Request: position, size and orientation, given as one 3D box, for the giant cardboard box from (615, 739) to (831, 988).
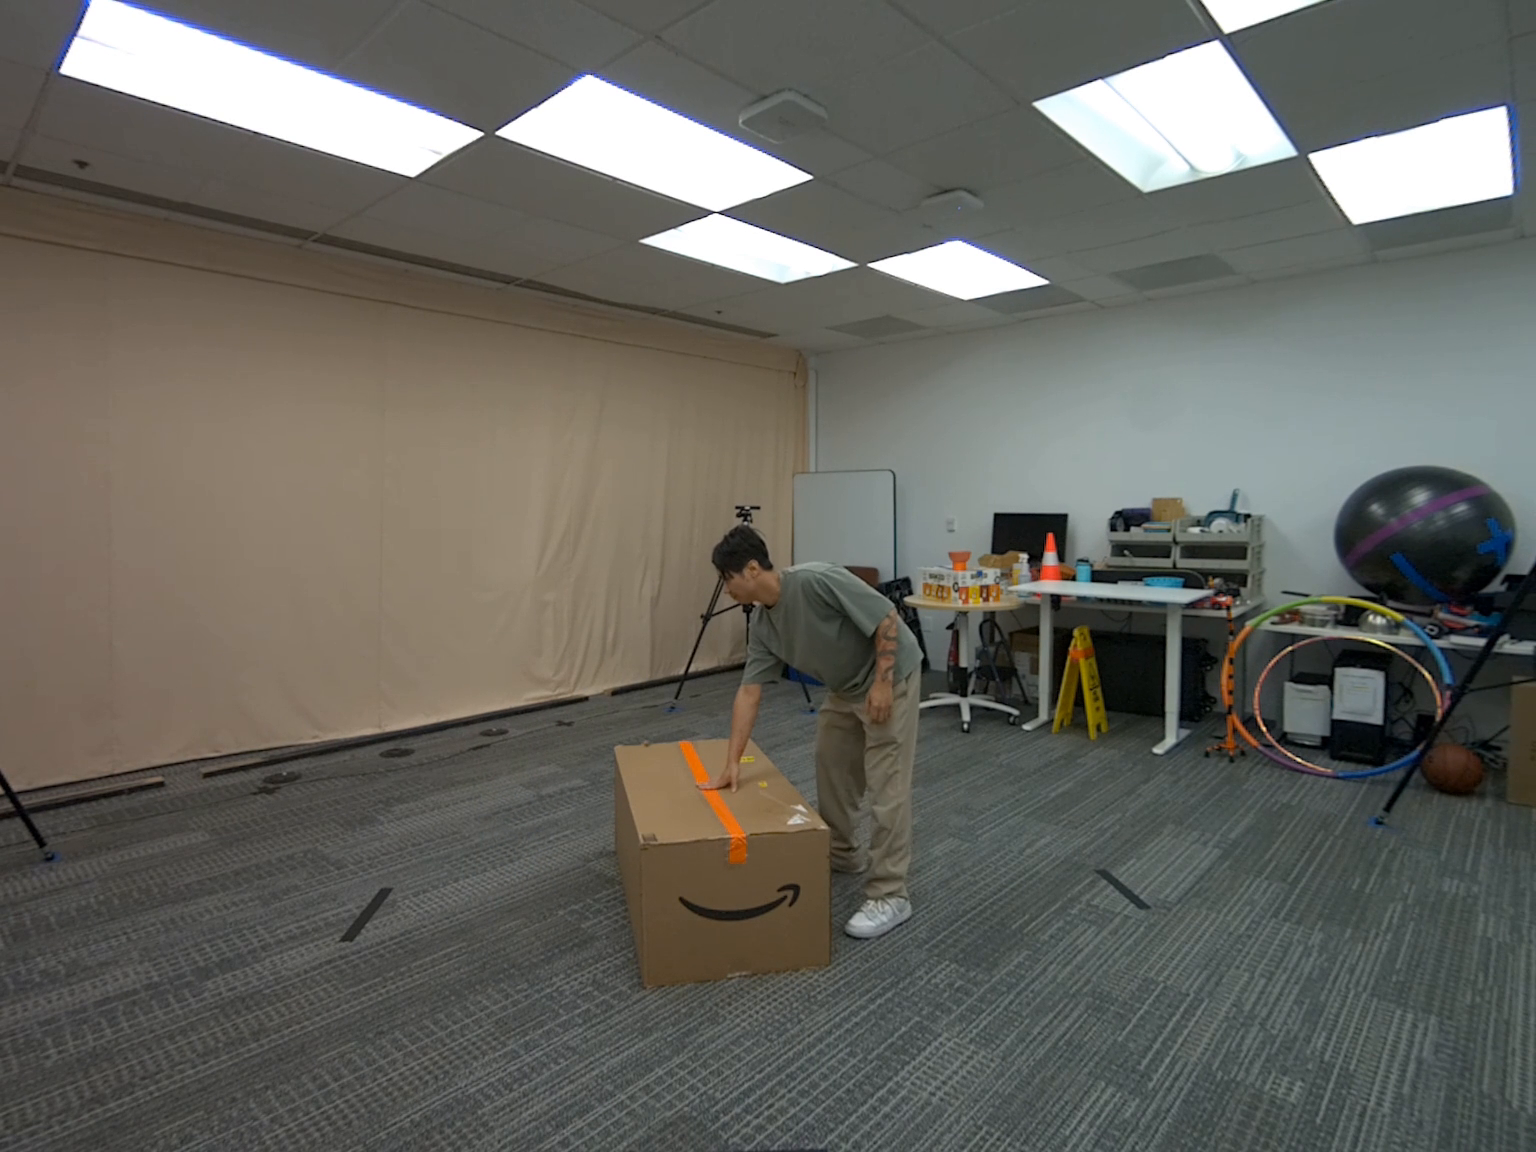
[{"bbox_3d":[-0.216,0.933,2.974,0.569,0.425,1.042,-1,4,-14],"label":"giant cardboard box"}]
